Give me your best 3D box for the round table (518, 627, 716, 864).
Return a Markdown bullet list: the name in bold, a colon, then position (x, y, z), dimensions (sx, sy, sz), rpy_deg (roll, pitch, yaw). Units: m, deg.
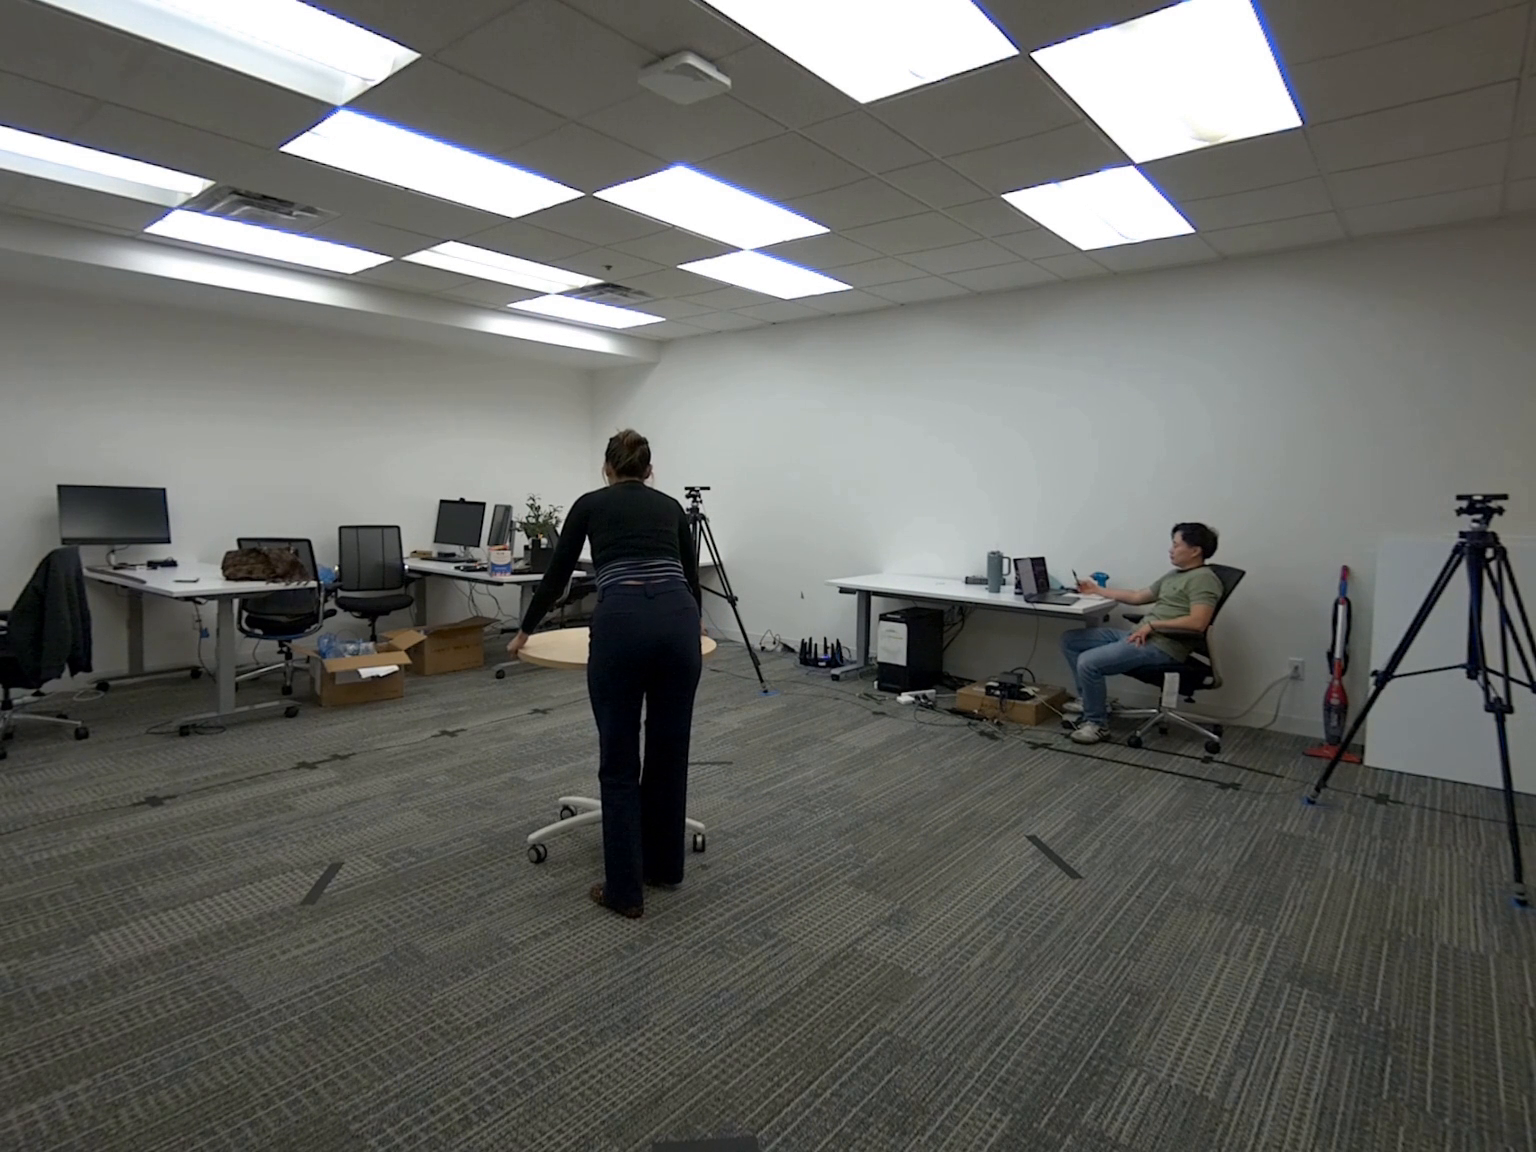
- **round table**: position (-0.601, 0.649, 3.303), dimensions (0.763, 0.791, 0.768), rpy_deg (1, 4, -2)
